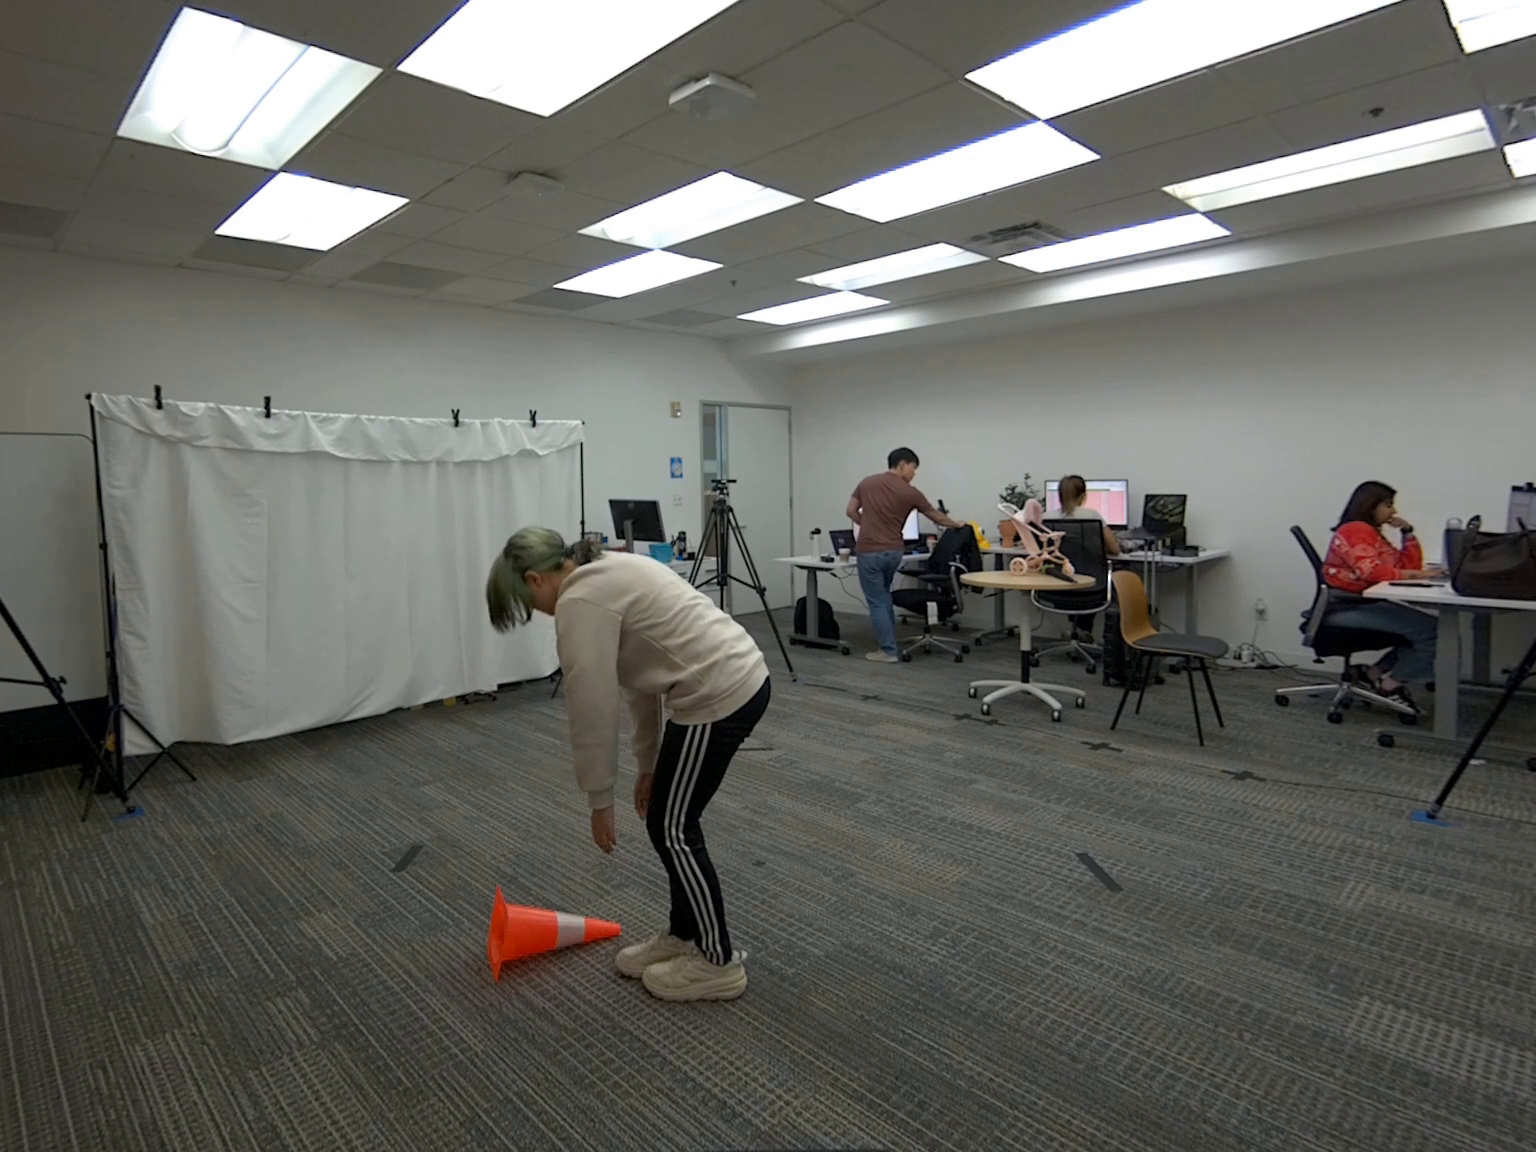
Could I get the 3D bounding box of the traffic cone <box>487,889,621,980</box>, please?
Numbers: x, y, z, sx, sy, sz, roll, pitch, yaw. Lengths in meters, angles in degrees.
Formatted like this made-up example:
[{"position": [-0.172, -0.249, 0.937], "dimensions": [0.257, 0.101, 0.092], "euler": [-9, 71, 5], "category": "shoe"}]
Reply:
[{"position": [-0.625, 1.068, 2.564], "dimensions": [0.373, 0.205, 0.209], "euler": [10, -1, -28], "category": "traffic cone"}]
